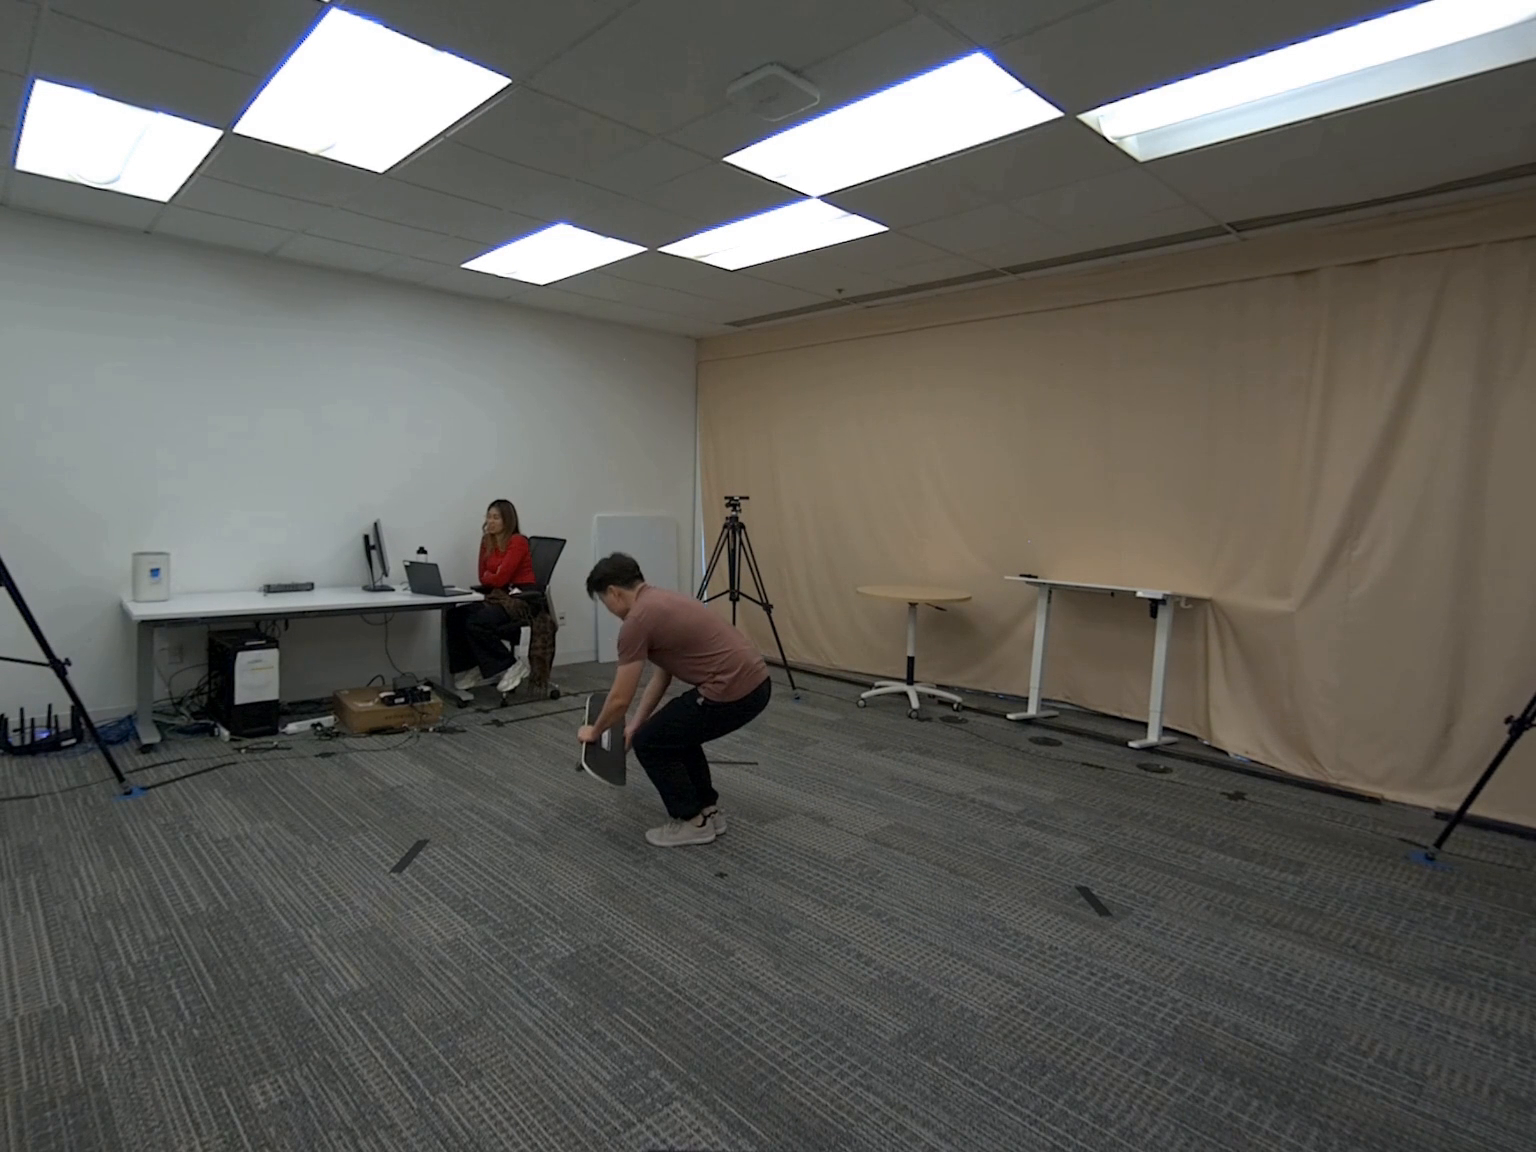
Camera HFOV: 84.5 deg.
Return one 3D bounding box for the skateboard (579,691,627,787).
[{"bbox_3d":[-0.692,0.702,3.535,0.190,0.110,0.798,31,8,-15],"label":"skateboard"}]
